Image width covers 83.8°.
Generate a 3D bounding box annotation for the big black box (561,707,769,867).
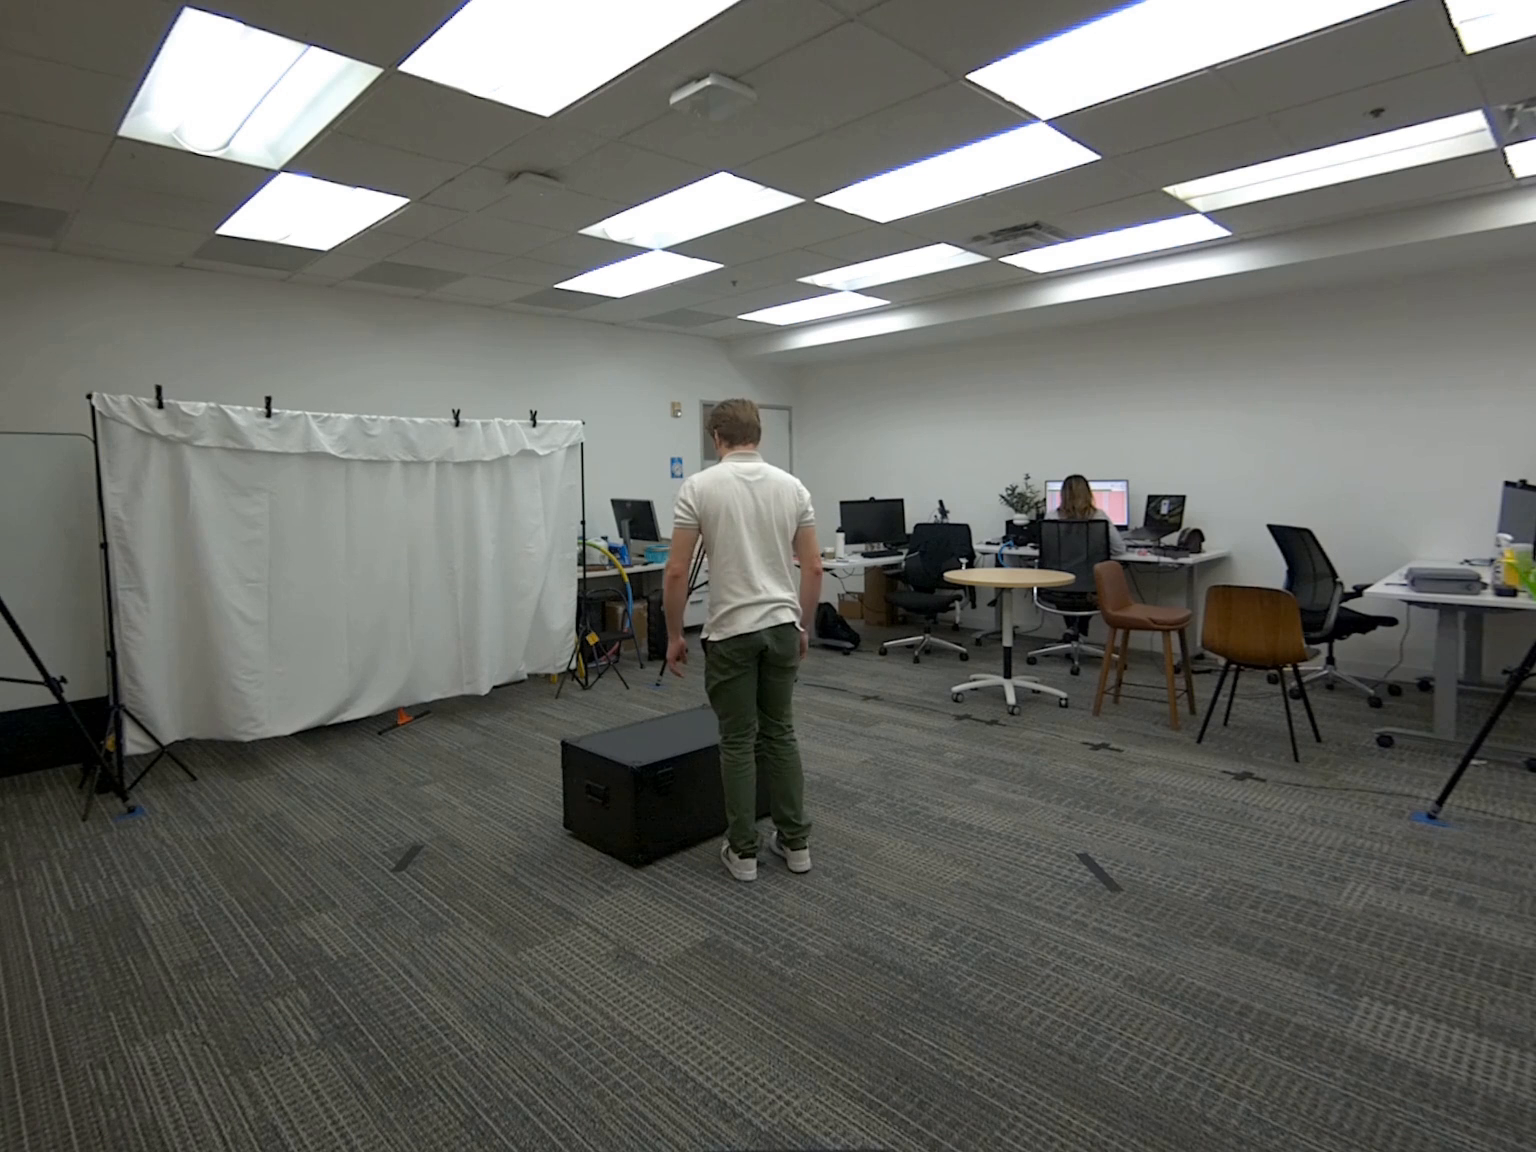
[{"bbox_3d":[-0.347,0.812,3.507,0.845,0.384,0.539,-6,6,-44],"label":"big black box"}]
